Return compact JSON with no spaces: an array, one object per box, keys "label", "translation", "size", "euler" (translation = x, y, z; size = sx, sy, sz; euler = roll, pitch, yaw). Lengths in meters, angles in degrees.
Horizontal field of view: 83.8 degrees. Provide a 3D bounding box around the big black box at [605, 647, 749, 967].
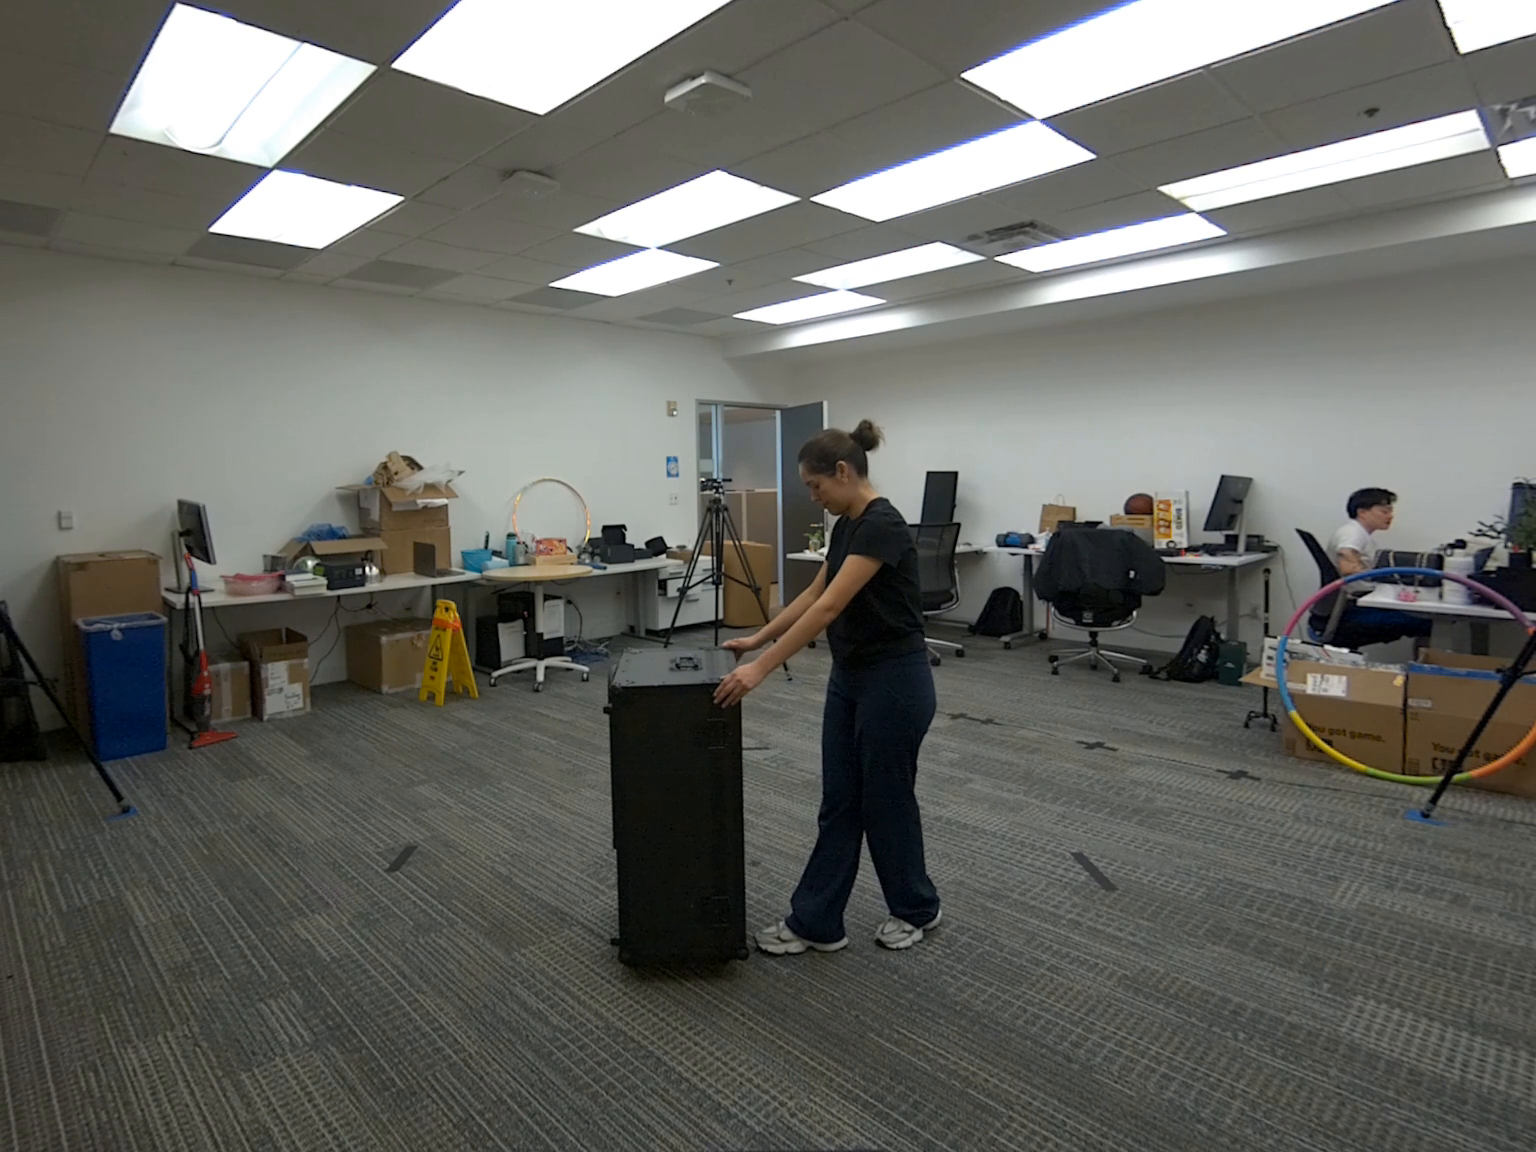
[{"label":"big black box","translation":[-0.269,0.687,2.574],"size":[0.395,0.858,0.526],"euler":[-2,5,-5]}]
